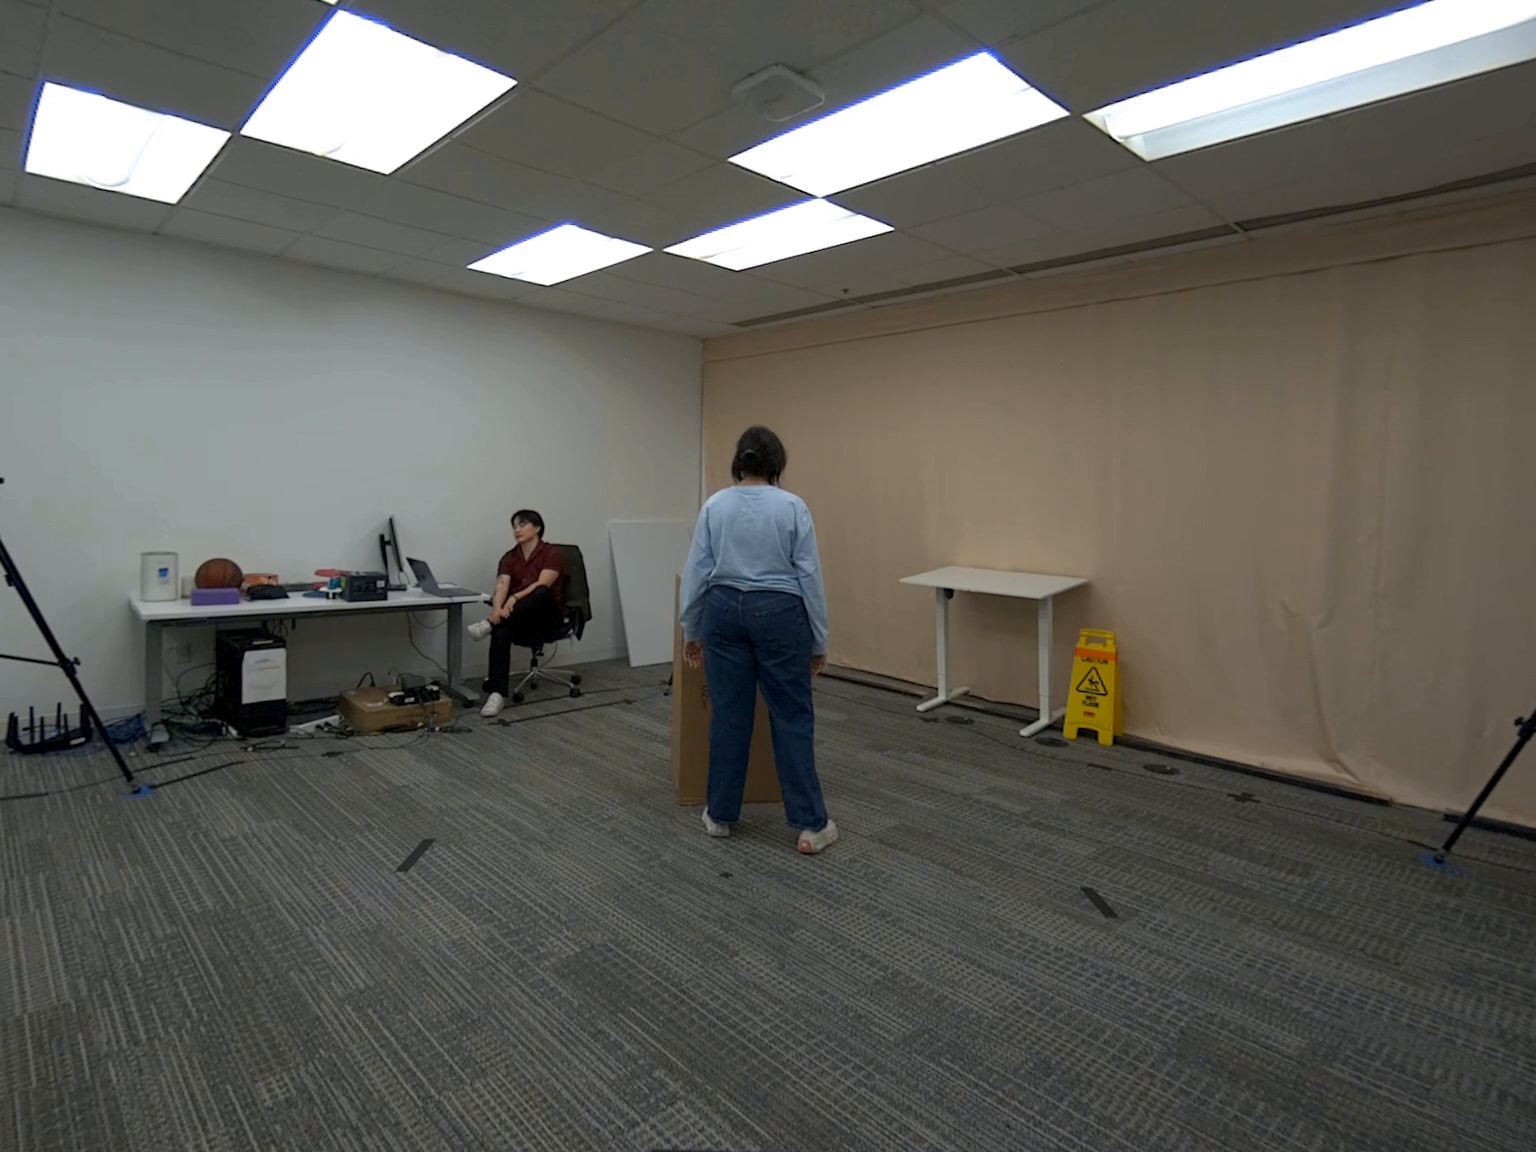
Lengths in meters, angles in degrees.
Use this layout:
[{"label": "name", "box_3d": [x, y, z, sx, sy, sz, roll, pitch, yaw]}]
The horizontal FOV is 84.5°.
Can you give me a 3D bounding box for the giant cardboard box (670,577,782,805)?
[{"label": "giant cardboard box", "box_3d": [-0.160, 0.514, 4.035, 0.573, 1.024, 0.430, 1, 3, -10]}]
